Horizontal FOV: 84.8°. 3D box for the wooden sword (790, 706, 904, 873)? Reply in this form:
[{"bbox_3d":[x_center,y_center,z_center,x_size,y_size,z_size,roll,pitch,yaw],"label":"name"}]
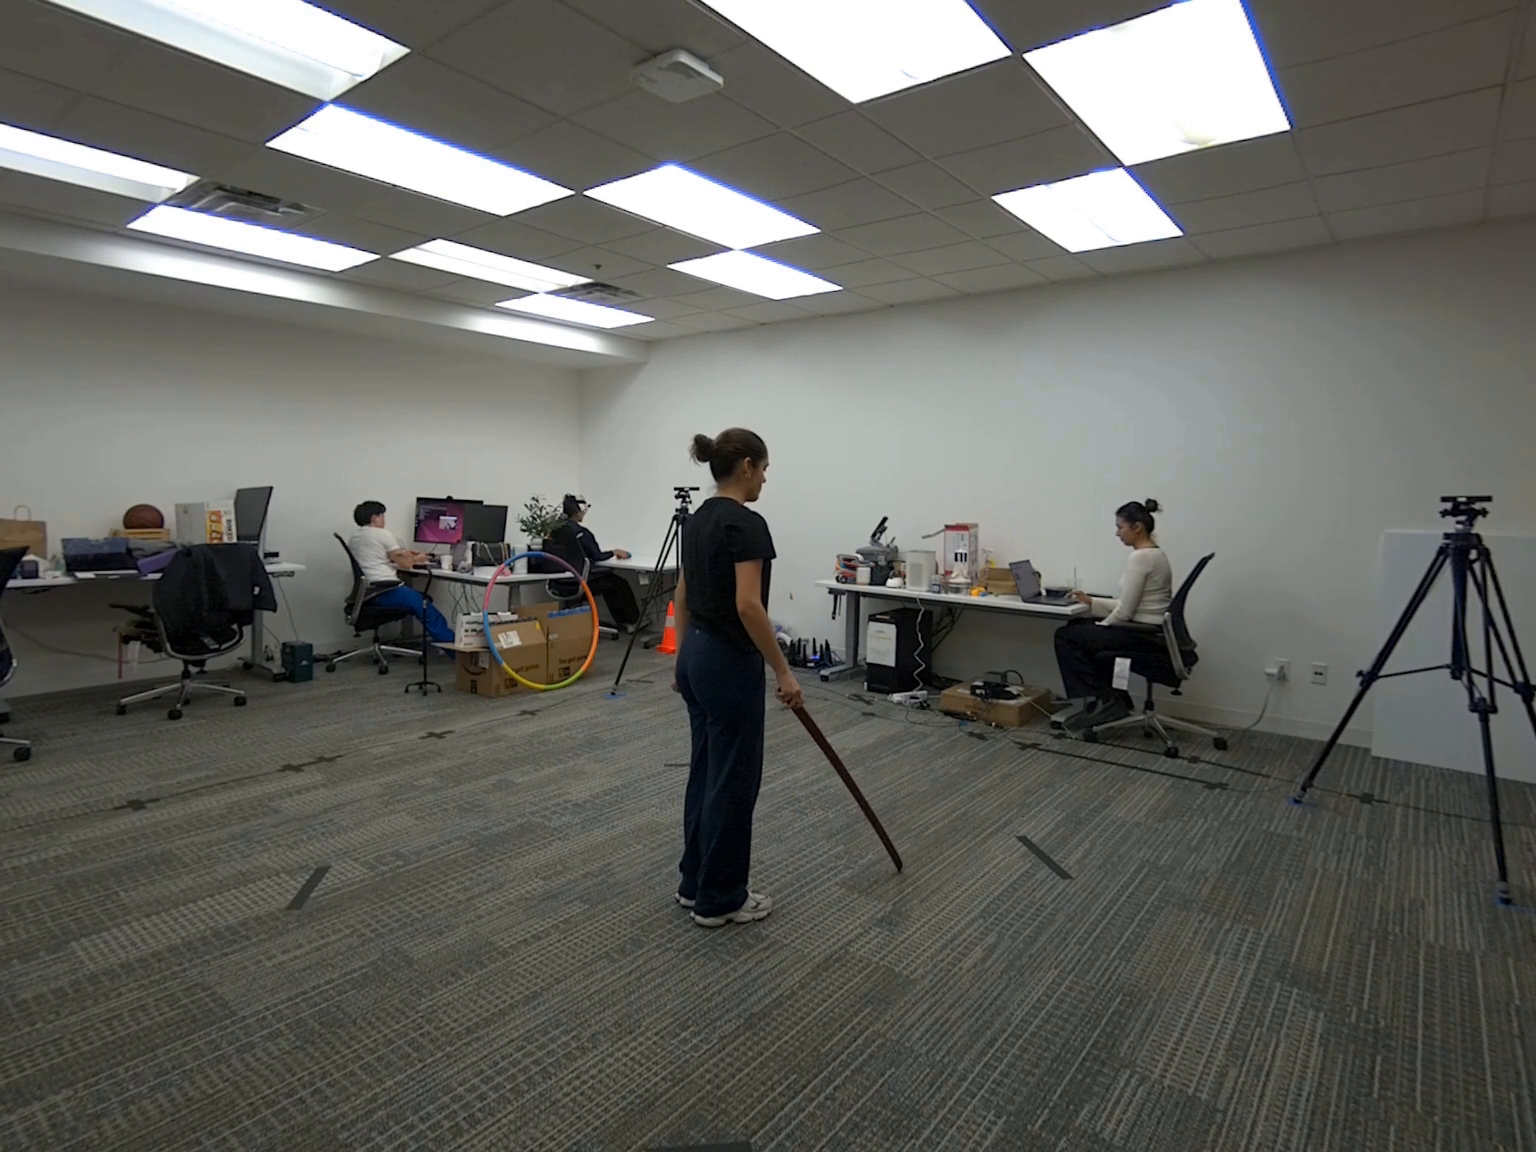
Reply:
[{"bbox_3d":[0.288,0.708,2.875,0.024,0.988,0.053,-29,31,5],"label":"wooden sword"}]
